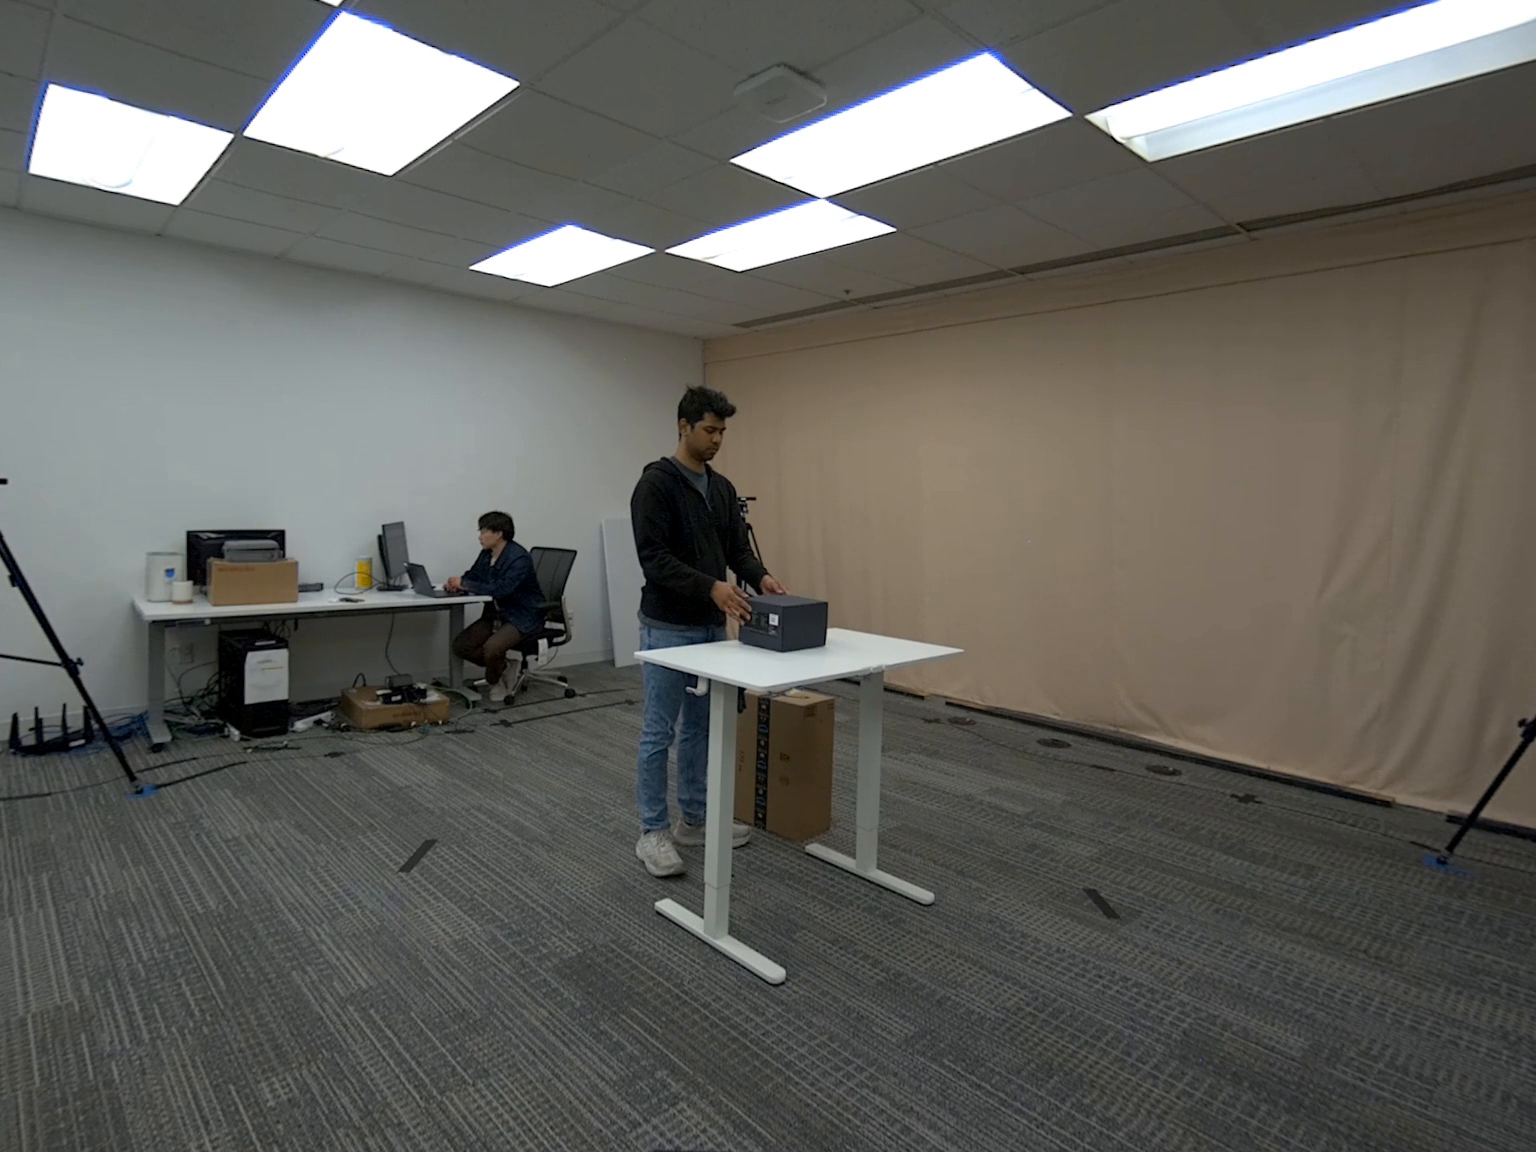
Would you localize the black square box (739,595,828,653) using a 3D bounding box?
[{"bbox_3d":[0.059,0.153,2.946,0.223,0.155,0.222,-4,7,-44],"label":"black square box"}]
